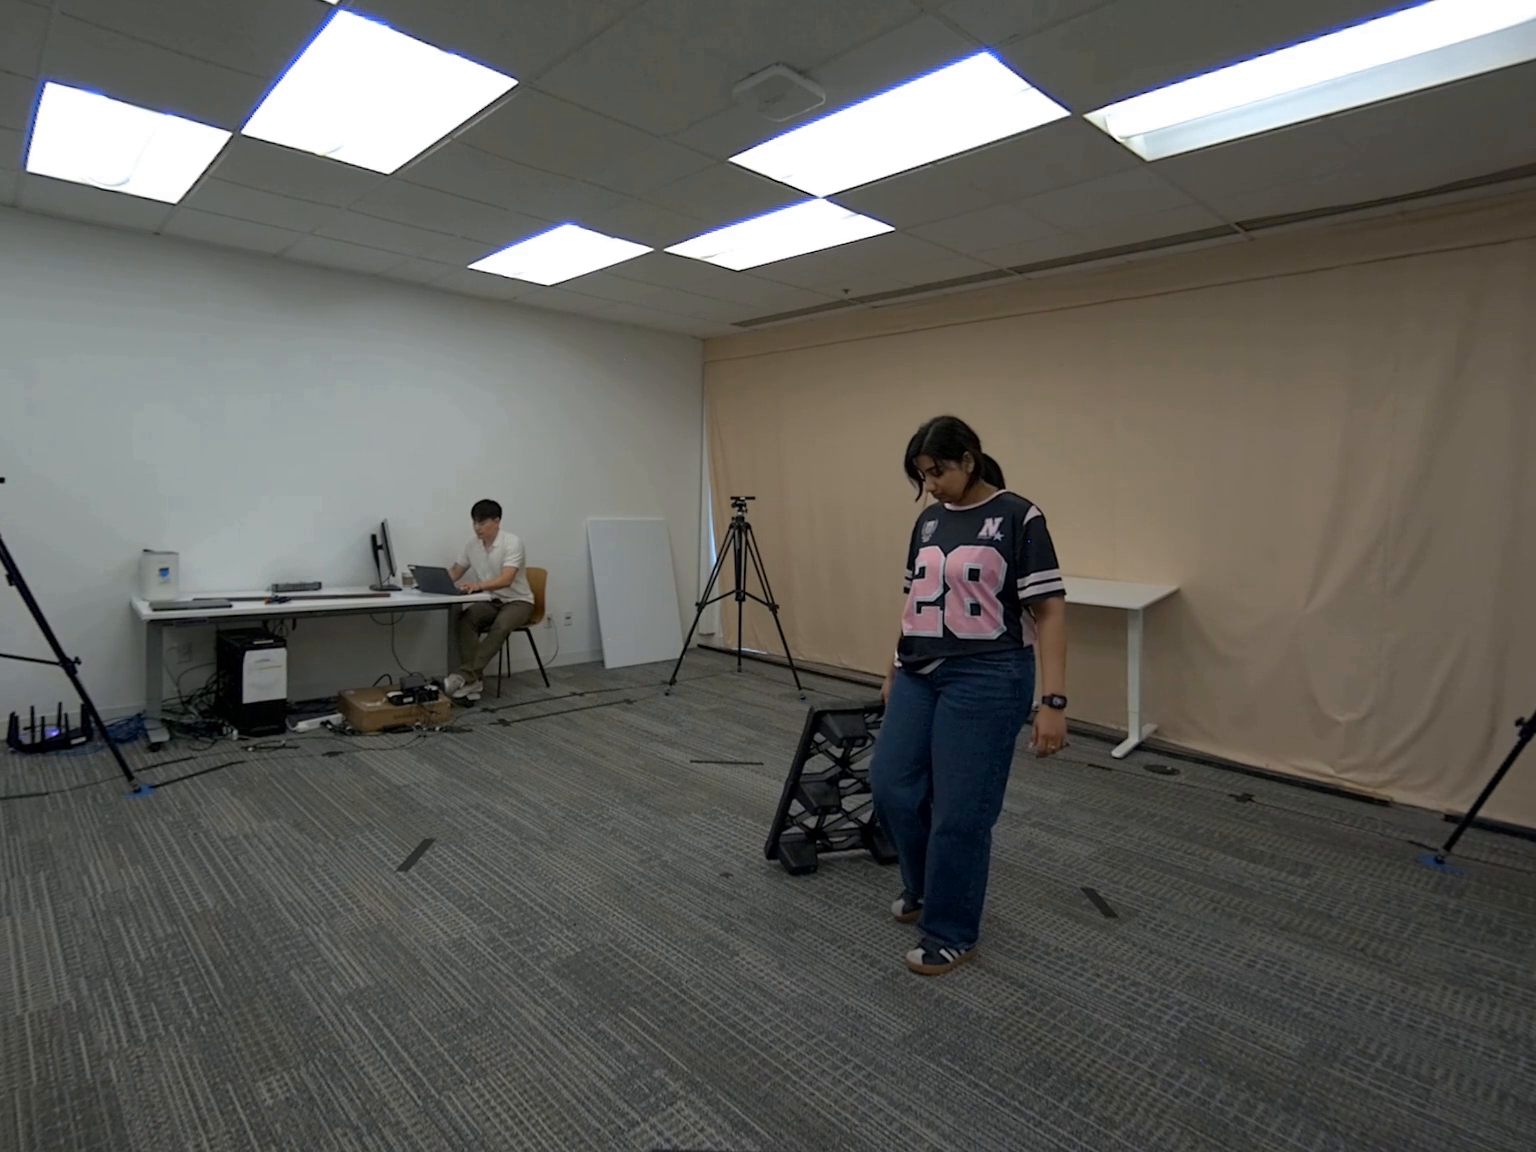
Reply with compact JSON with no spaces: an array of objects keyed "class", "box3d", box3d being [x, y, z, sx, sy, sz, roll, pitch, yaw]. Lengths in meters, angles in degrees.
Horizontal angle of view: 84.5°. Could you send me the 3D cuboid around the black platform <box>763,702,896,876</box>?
[{"class":"black platform","box3d":[0.356,0.777,3.037,0.597,0.793,0.147,1,35,-18]}]
